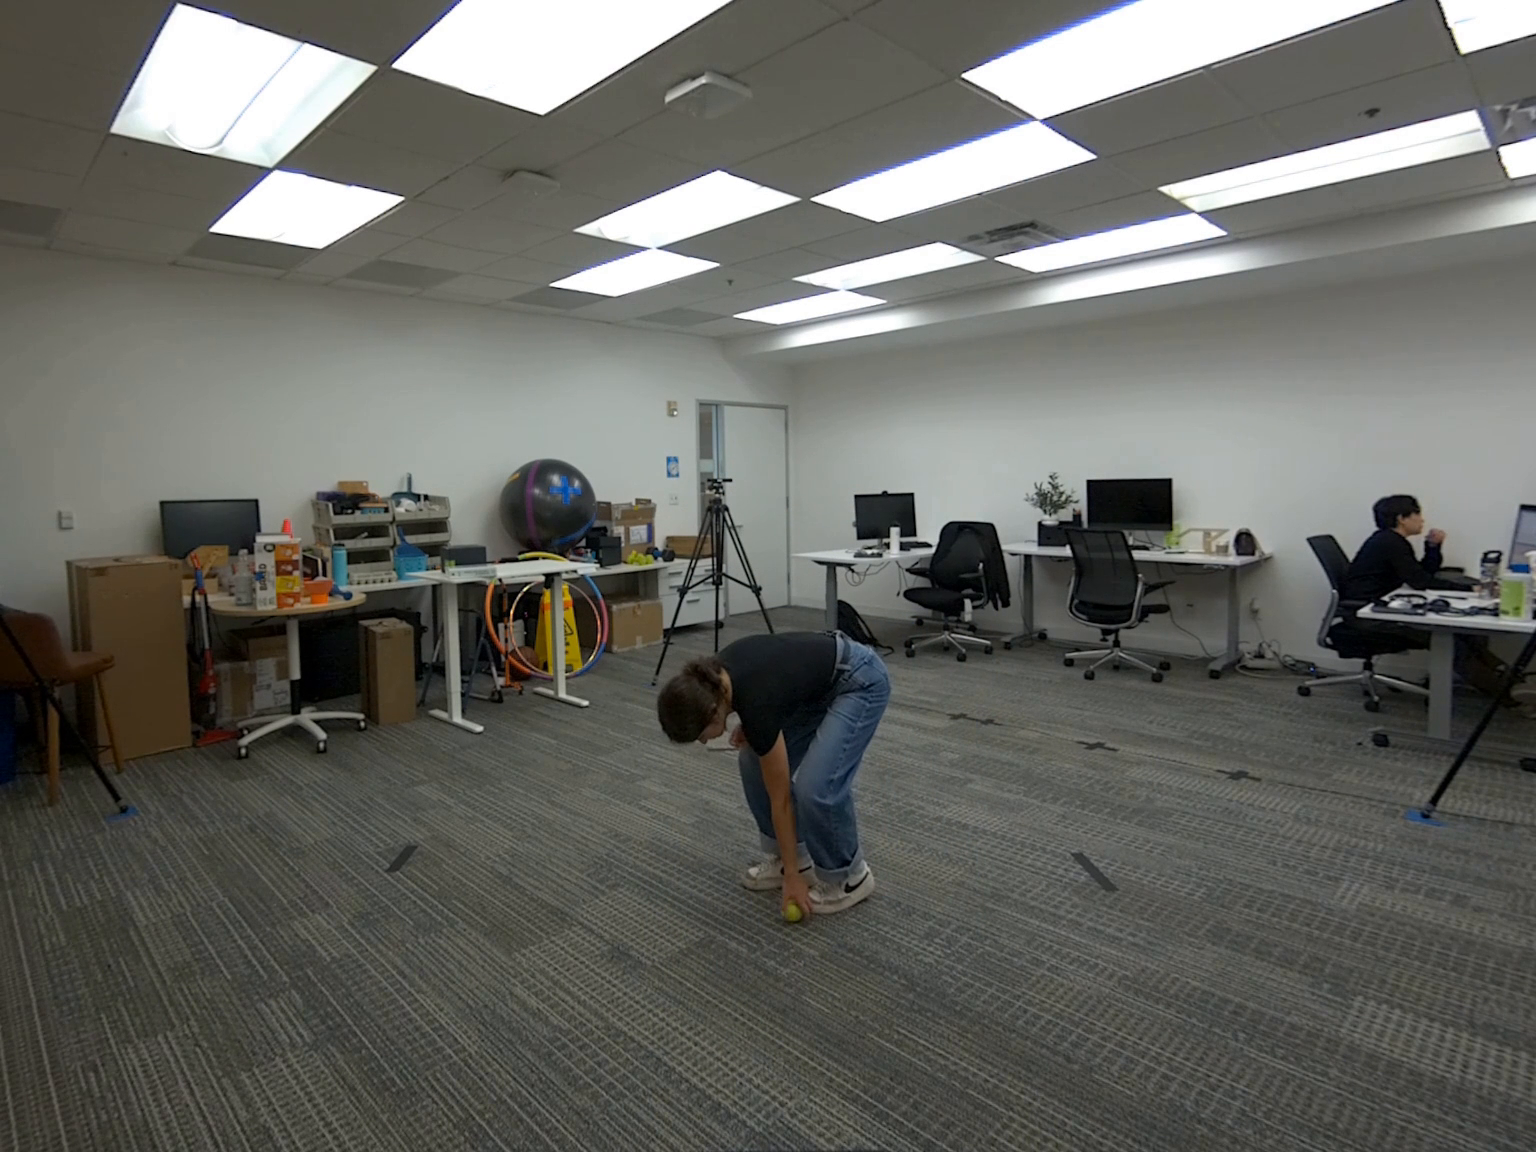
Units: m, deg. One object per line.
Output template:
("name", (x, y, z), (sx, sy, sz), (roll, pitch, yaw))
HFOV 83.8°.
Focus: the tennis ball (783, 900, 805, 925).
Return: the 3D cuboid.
("tennis ball", (0.097, 1.063, 2.708), (0.066, 0.066, 0.067), (-1, 5, -2))
